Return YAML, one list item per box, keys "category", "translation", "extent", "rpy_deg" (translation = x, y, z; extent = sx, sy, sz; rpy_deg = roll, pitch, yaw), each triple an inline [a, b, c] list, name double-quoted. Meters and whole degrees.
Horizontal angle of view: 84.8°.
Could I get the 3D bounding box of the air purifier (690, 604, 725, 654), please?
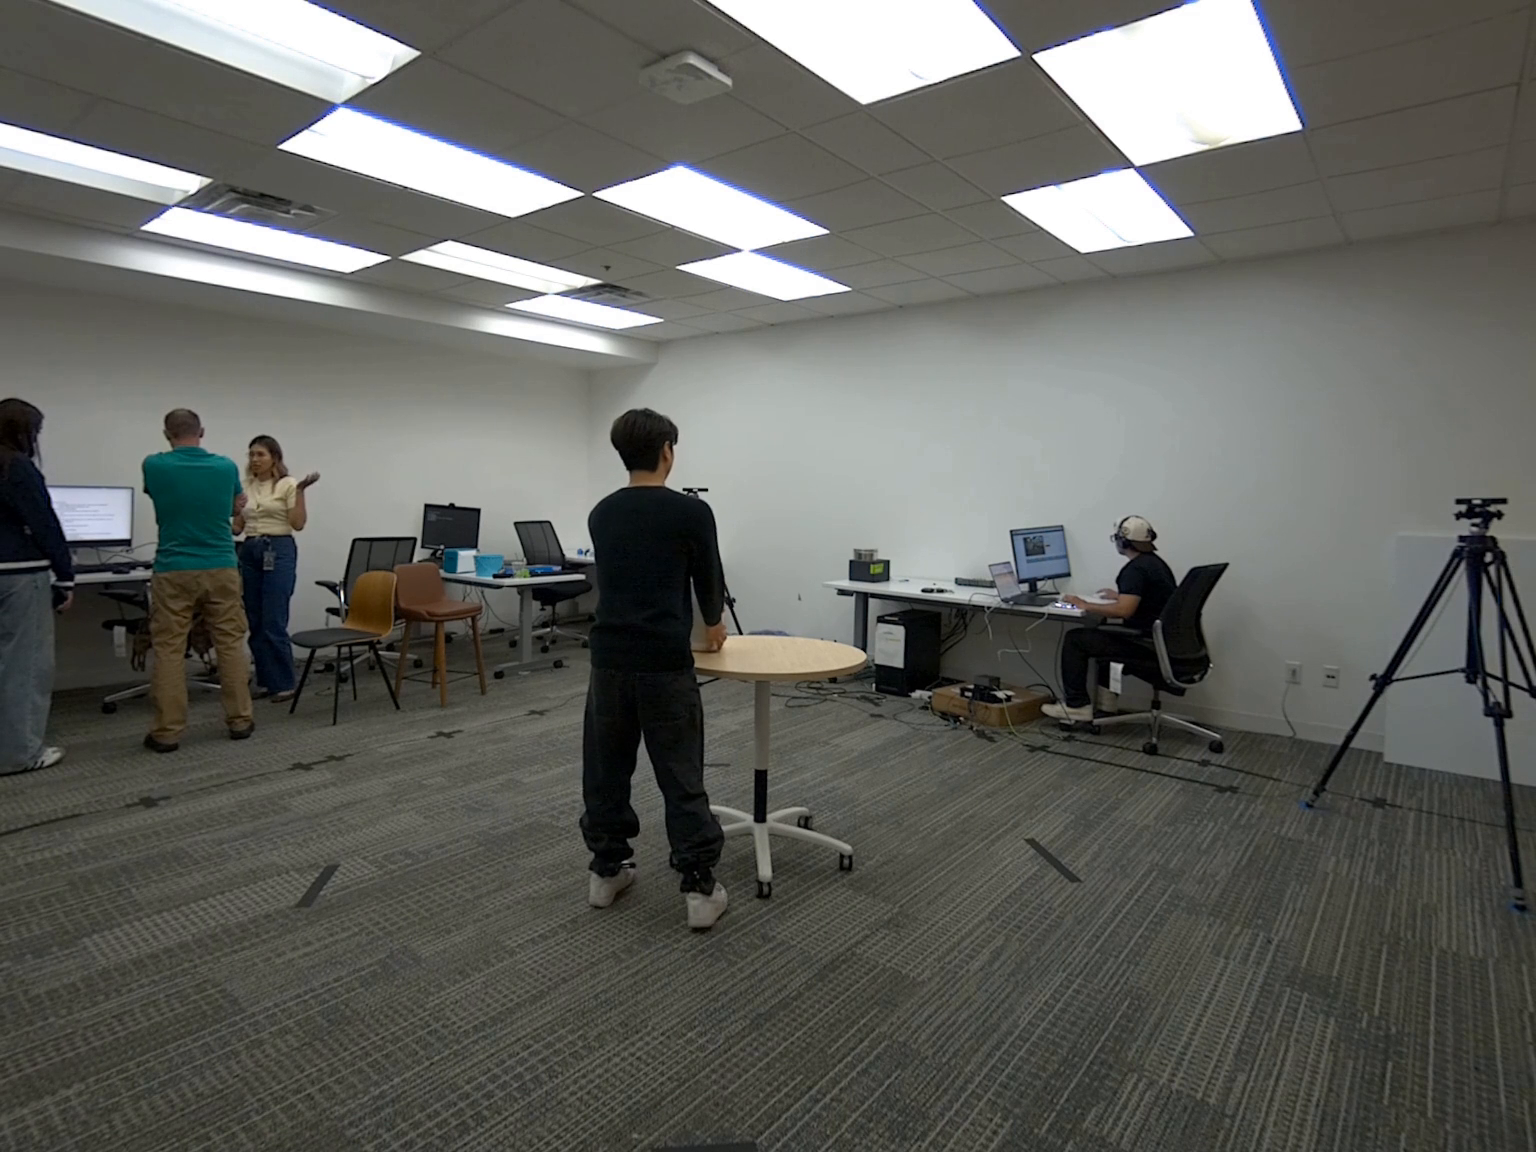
- category: "air purifier"
  translation: [-0.259, 0.143, 3.237]
  extent: [0.172, 0.264, 0.171]
  rpy_deg: [1, 4, 3]
